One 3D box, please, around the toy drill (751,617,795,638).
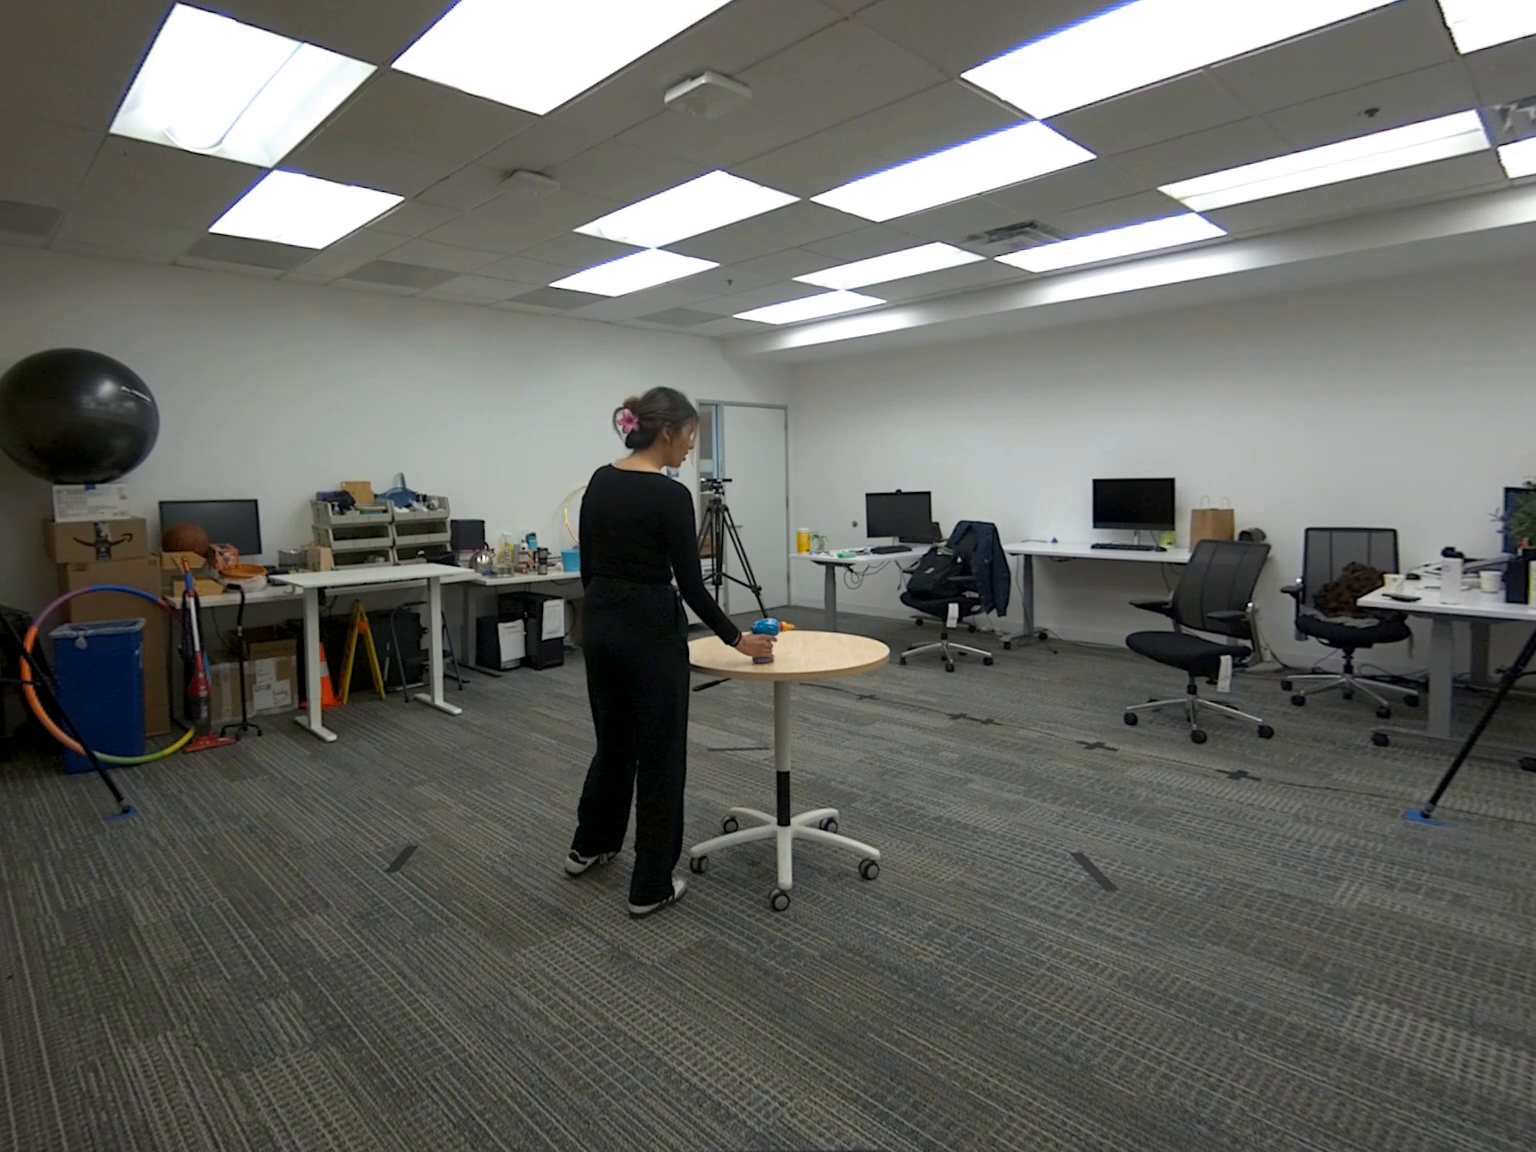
[{"bbox_3d":[0.013,0.209,2.863,0.166,0.145,0.063,-3,8,-27],"label":"toy drill"}]
